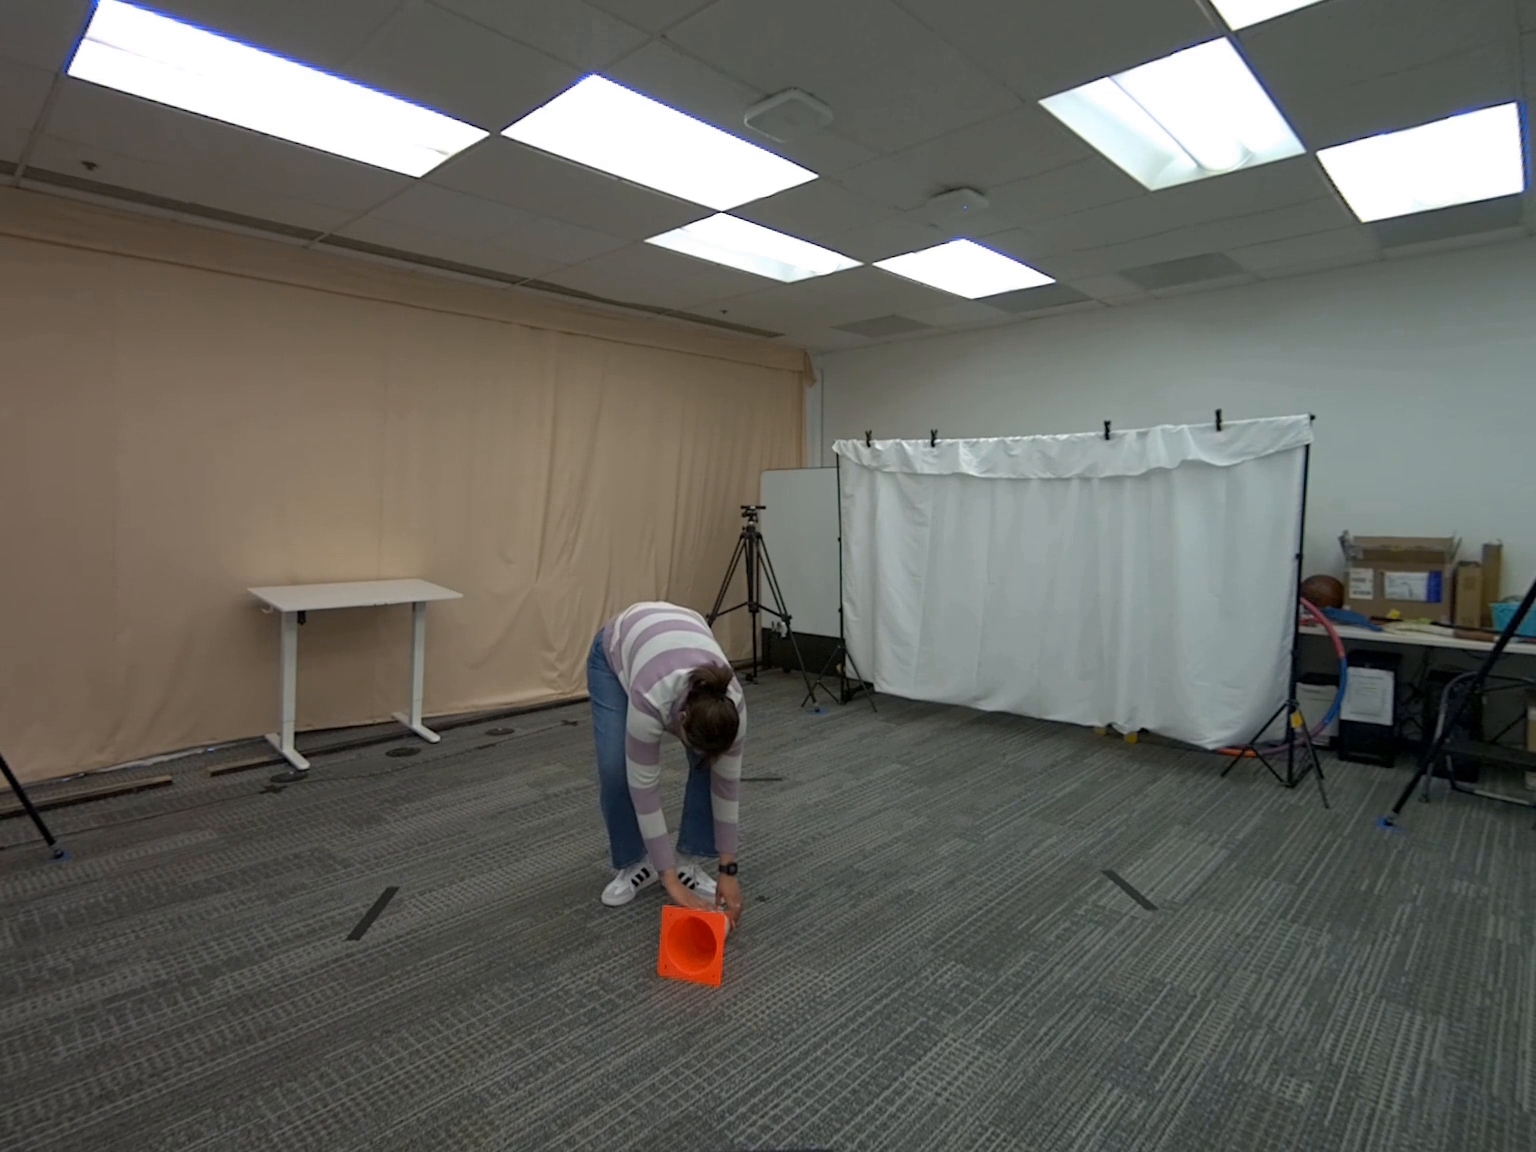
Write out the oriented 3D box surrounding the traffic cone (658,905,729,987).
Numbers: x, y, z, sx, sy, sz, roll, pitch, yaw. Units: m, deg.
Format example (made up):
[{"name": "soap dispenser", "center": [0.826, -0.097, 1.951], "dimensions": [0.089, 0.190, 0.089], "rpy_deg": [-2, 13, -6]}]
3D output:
[{"name": "traffic cone", "center": [-0.182, 1.110, 2.662], "dimensions": [0.207, 0.205, 0.375], "rpy_deg": [3, -6, 17]}]
